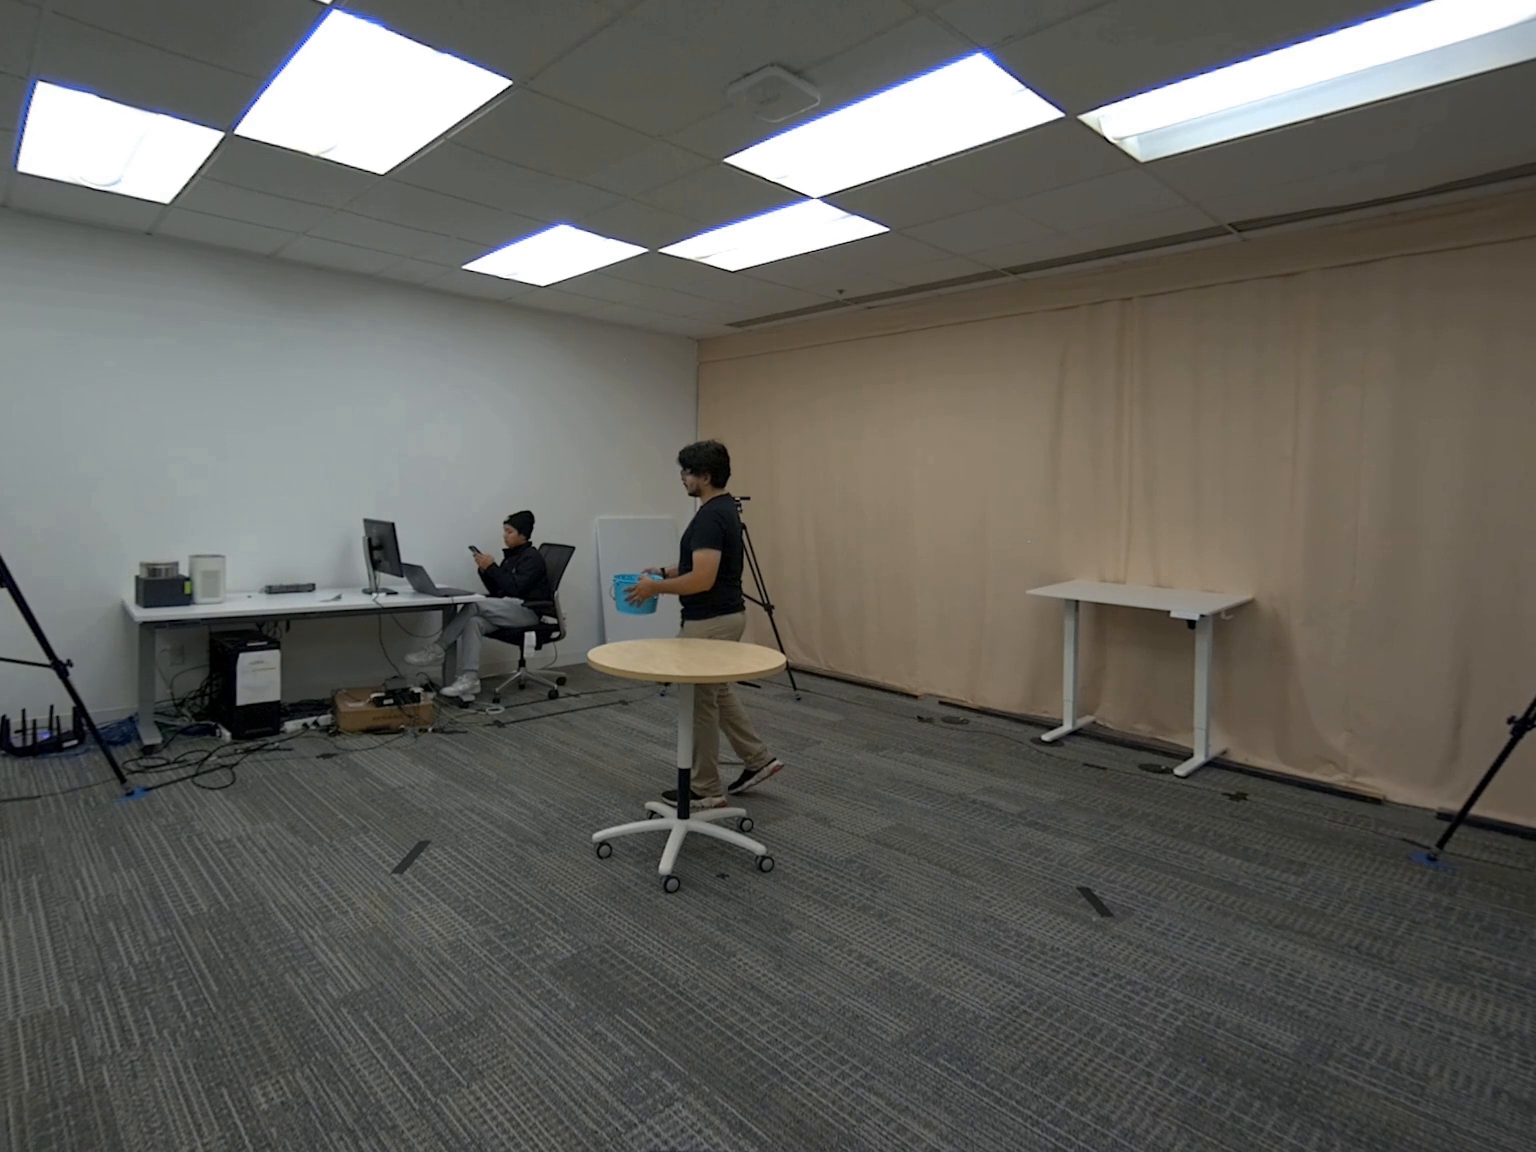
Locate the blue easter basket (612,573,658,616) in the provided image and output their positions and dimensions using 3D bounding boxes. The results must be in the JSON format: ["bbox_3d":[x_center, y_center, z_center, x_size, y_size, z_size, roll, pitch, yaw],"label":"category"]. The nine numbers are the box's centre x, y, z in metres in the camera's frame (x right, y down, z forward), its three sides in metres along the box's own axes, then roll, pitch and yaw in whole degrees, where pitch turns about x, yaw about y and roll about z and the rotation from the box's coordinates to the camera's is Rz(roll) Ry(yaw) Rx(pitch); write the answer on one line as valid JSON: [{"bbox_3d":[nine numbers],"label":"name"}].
[{"bbox_3d":[-0.601,0.086,3.845,0.243,0.155,0.245,5,7,-2],"label":"blue easter basket"}]
